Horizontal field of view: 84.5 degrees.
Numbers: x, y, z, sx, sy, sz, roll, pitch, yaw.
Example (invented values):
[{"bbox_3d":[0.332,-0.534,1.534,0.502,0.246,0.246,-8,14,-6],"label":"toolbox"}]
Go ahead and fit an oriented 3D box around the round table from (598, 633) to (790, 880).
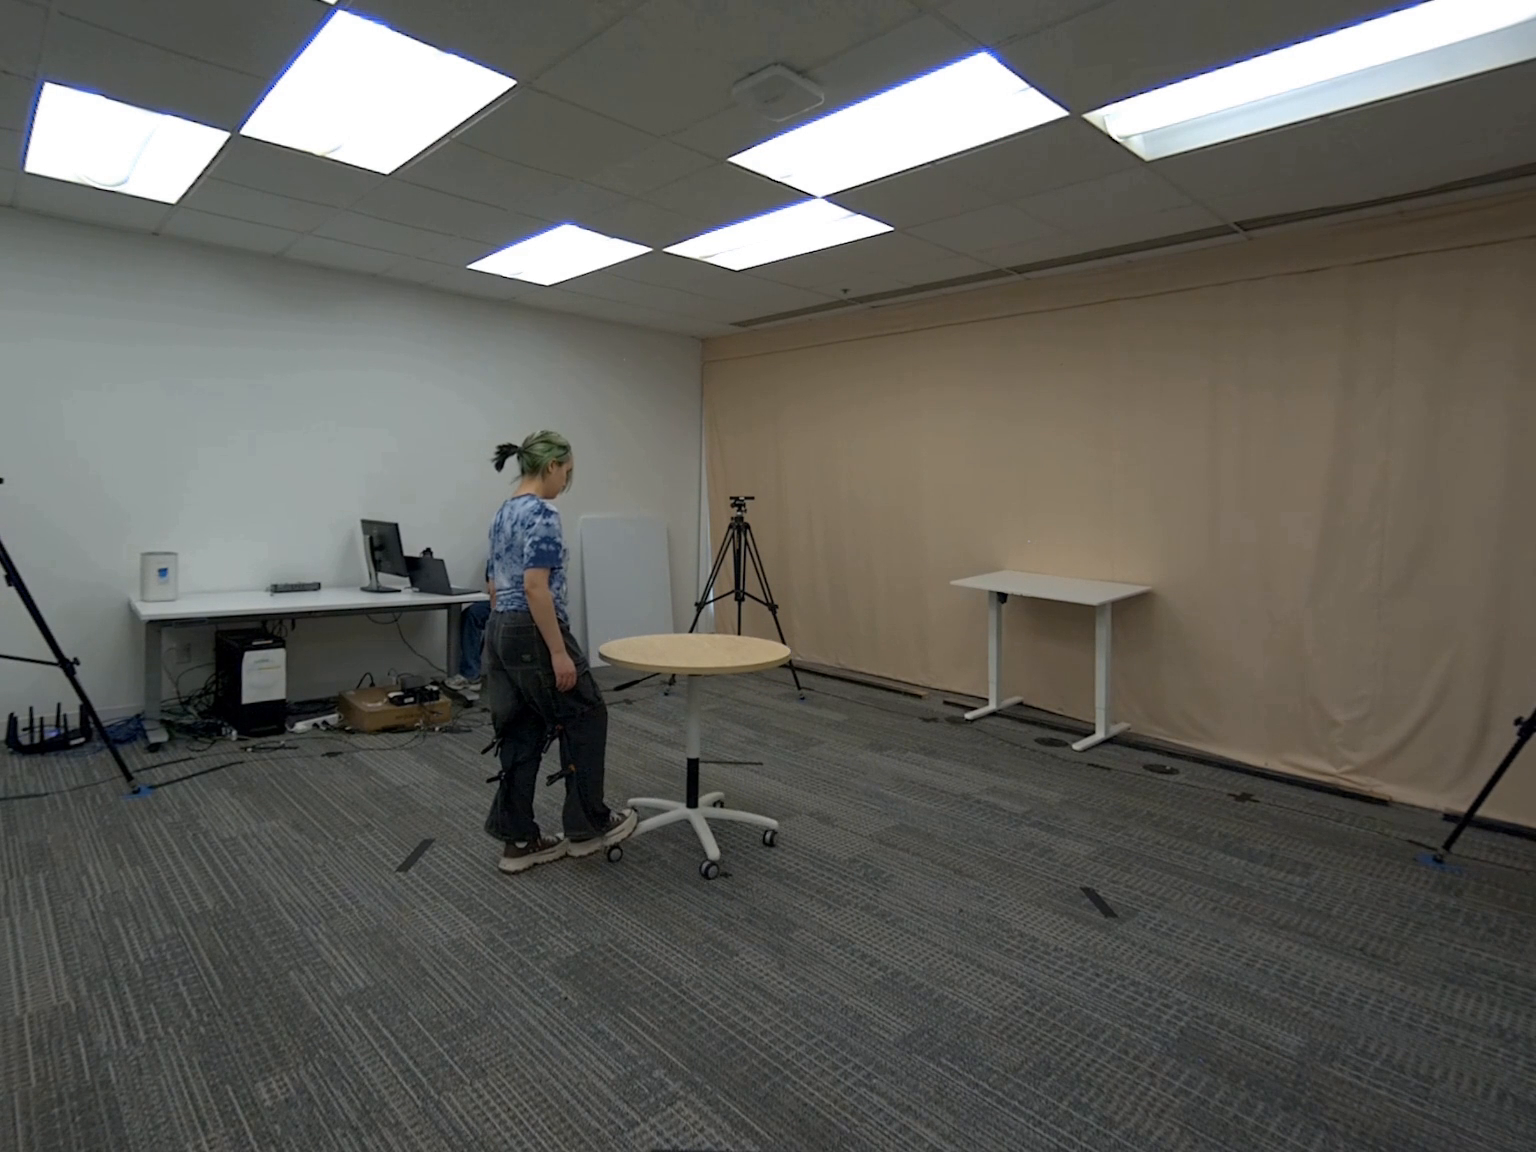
[{"bbox_3d":[-0.307,0.687,3.396,0.763,0.792,0.766,1,4,-1],"label":"round table"}]
